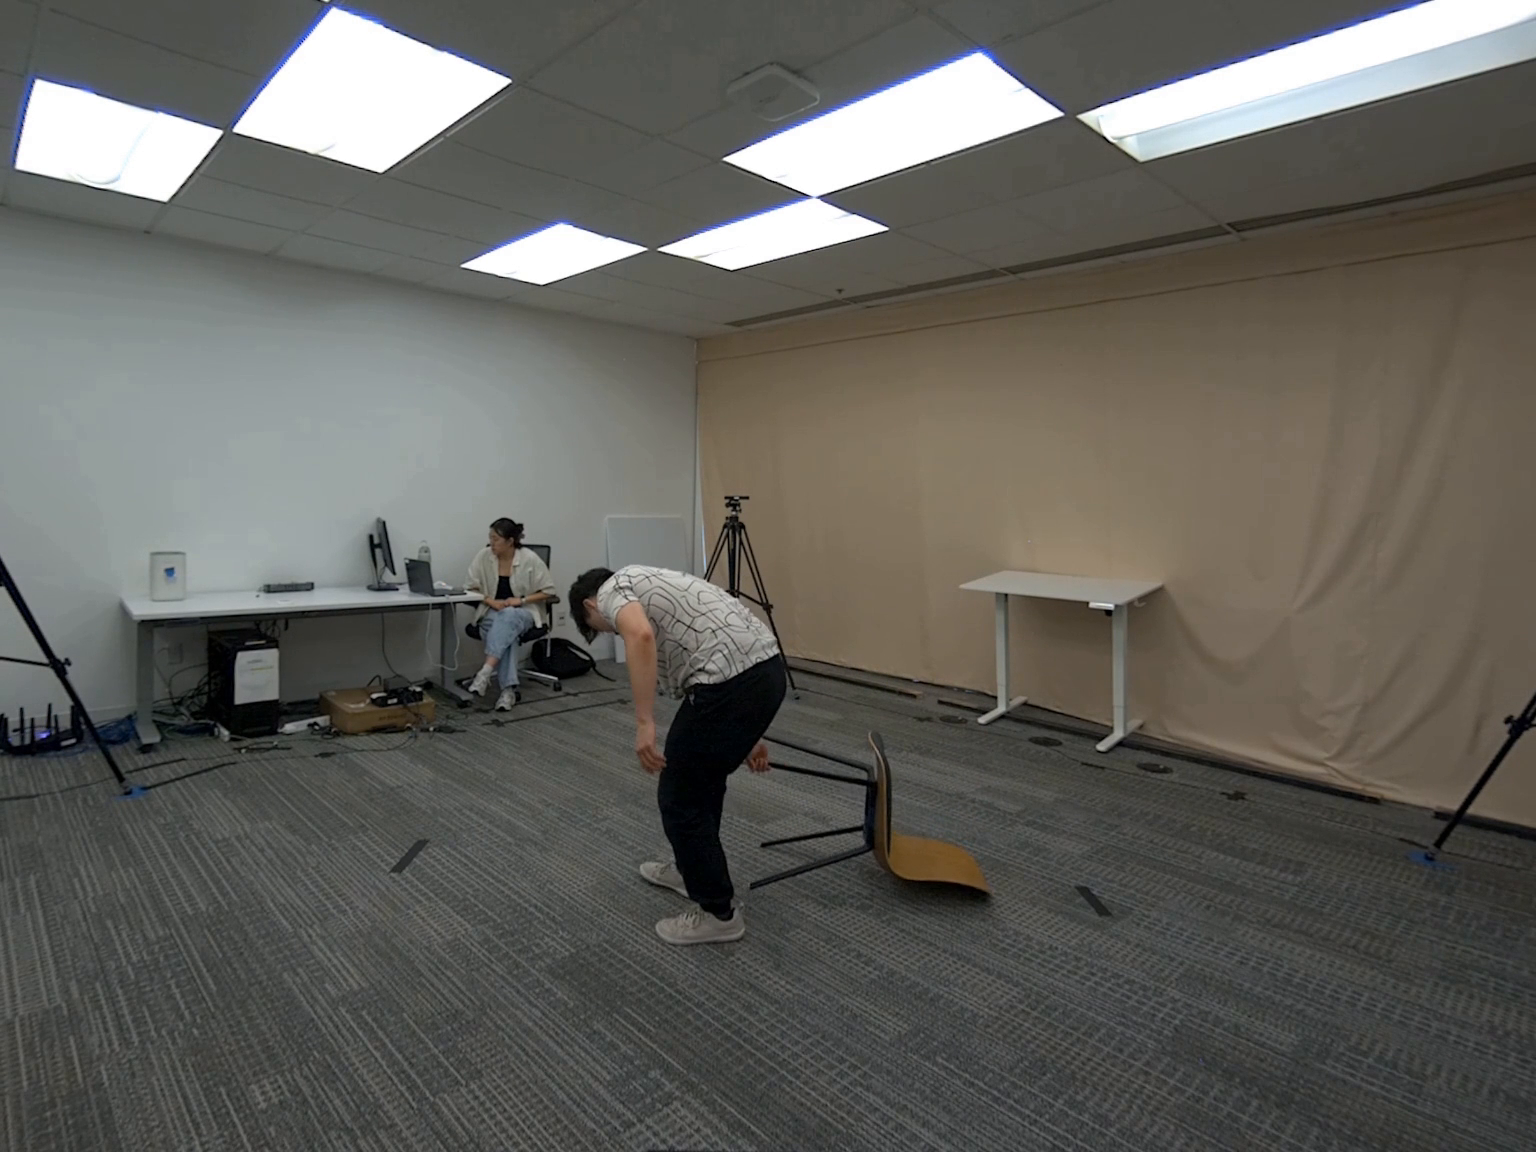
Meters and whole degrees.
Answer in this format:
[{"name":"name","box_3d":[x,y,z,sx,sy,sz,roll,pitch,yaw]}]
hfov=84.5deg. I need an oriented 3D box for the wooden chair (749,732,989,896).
[{"name":"wooden chair","box_3d":[0.373,0.851,3.098,0.883,0.523,0.475,4,1,7]}]
